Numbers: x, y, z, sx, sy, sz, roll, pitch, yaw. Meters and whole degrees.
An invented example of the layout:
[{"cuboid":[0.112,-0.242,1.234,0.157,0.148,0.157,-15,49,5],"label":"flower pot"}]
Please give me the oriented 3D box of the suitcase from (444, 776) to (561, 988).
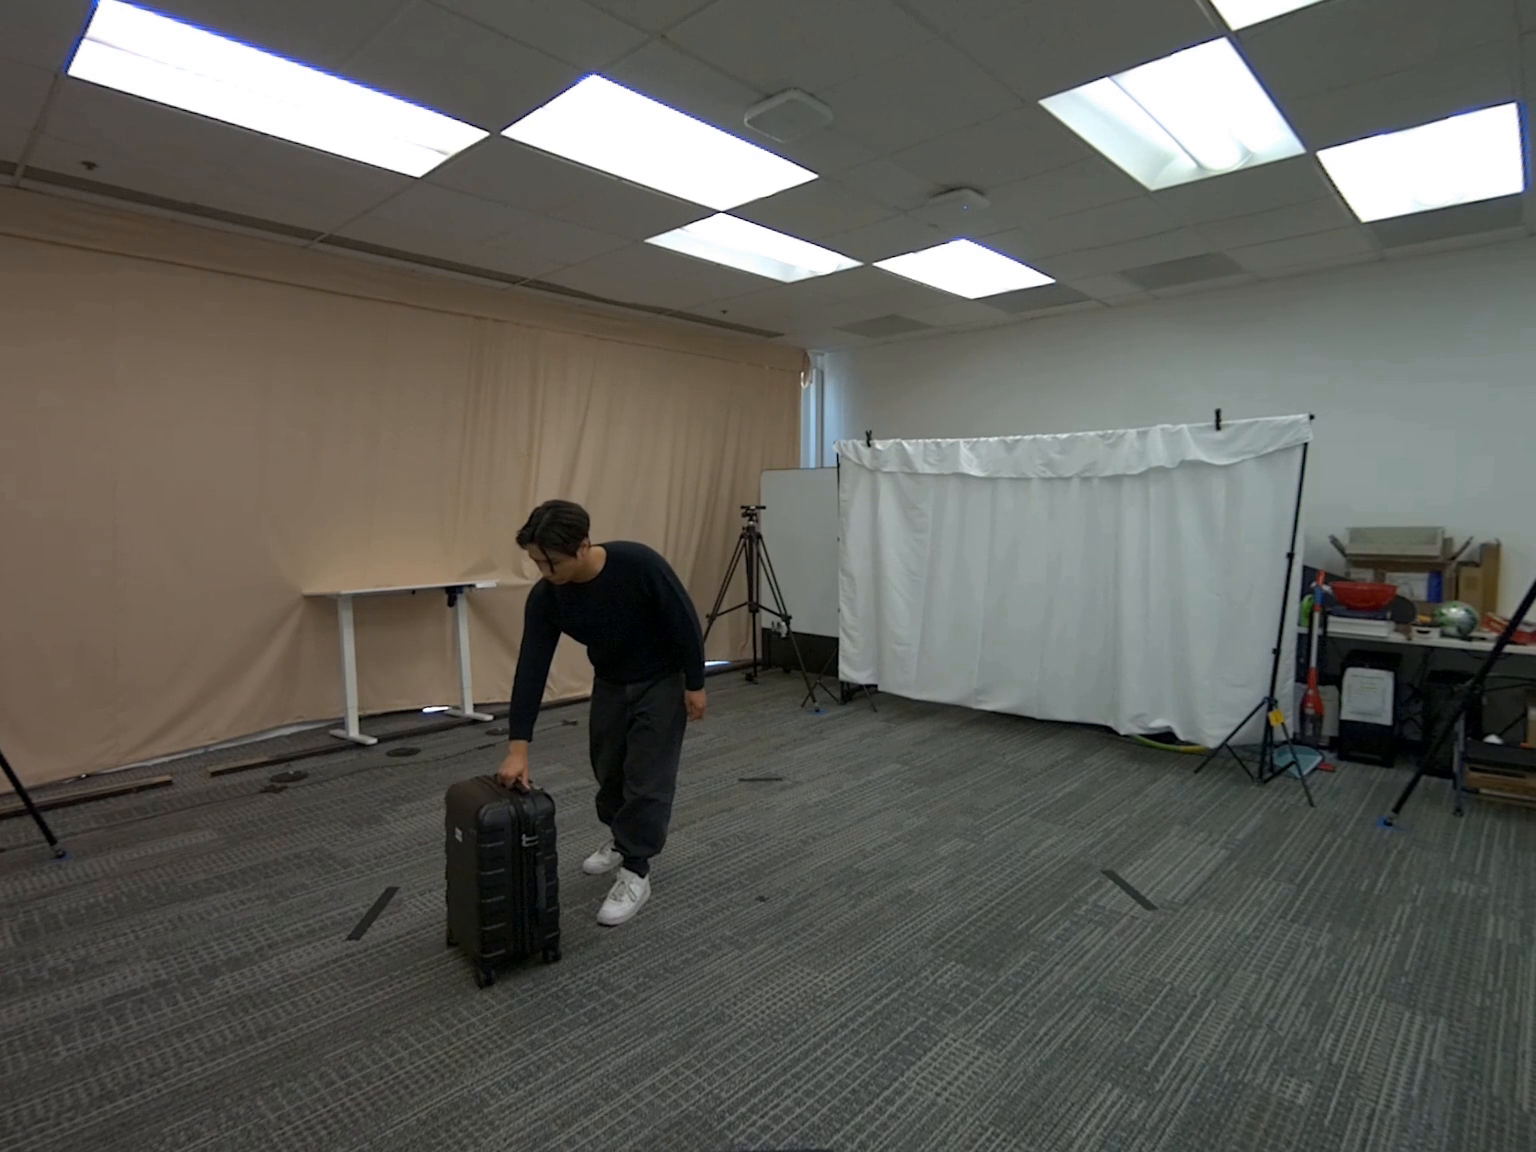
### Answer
[{"cuboid":[-0.831,0.909,2.599,0.241,0.548,0.388,-3,6,-38],"label":"suitcase"}]
